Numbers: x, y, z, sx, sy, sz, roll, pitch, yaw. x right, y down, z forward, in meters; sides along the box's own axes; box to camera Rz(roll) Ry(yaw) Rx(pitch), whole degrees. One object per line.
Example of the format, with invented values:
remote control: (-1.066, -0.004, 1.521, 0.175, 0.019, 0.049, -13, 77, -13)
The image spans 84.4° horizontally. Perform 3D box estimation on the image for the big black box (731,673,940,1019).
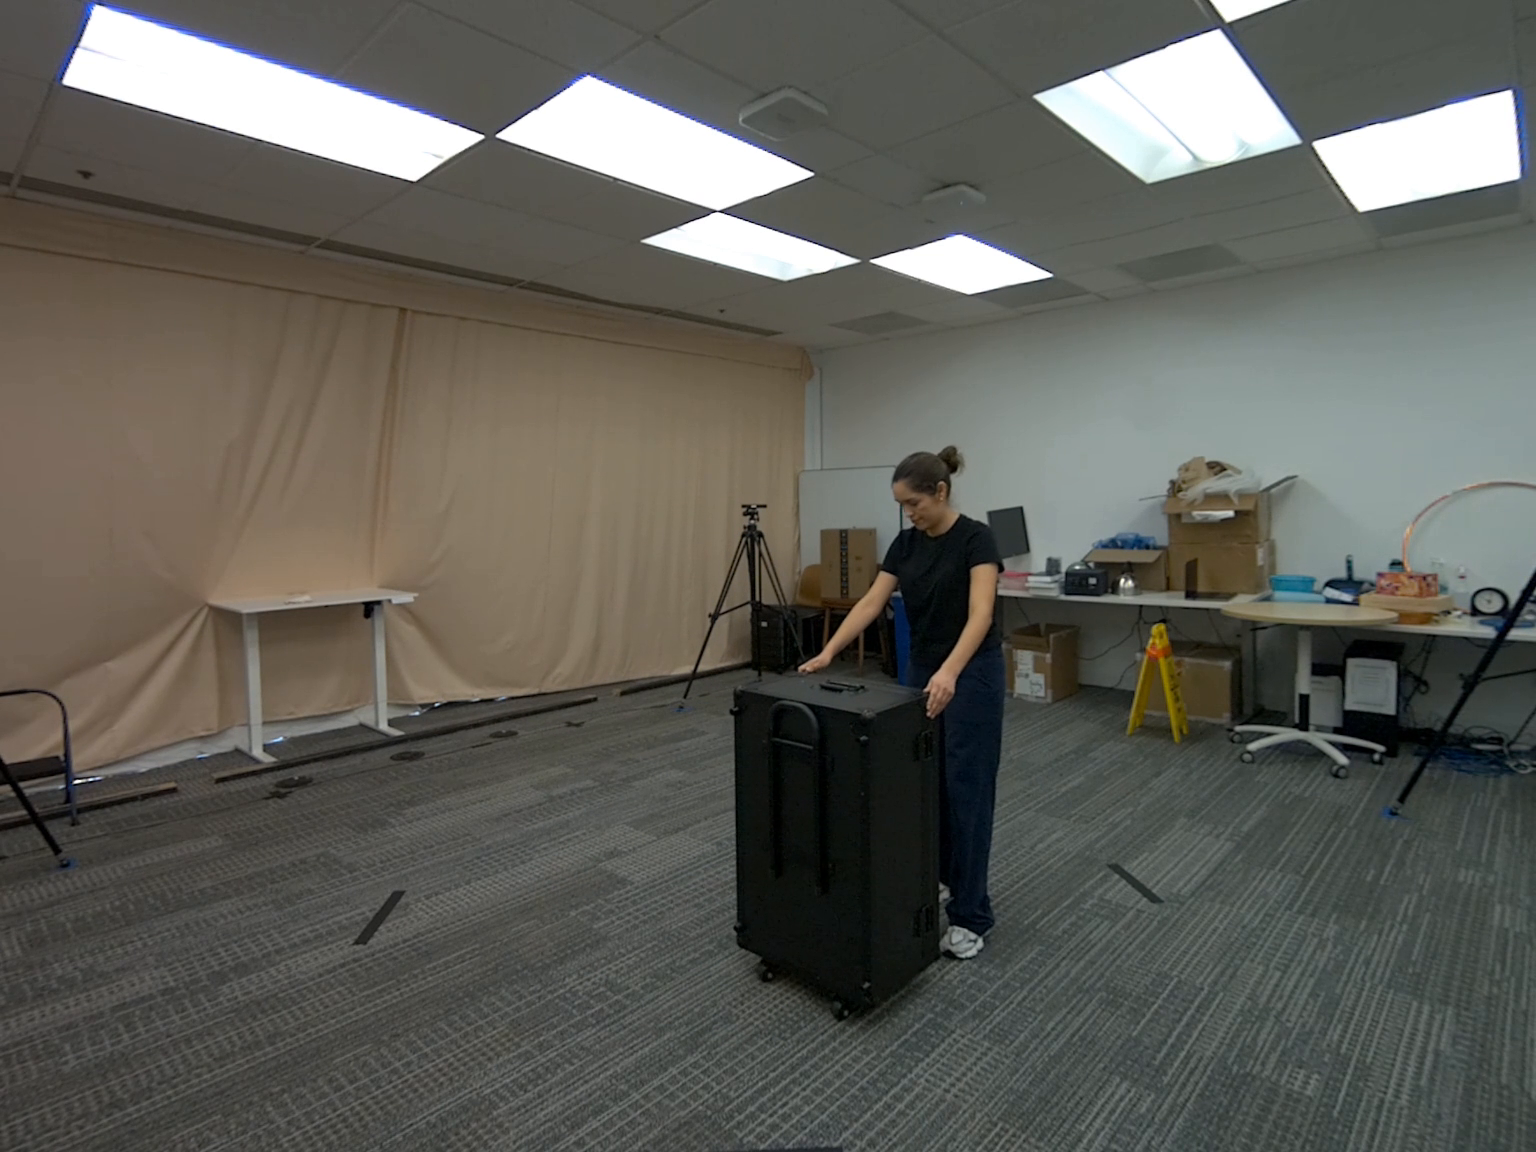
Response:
big black box: (0.216, 0.754, 2.456, 0.538, 0.859, 0.384, 2, 5, 43)
